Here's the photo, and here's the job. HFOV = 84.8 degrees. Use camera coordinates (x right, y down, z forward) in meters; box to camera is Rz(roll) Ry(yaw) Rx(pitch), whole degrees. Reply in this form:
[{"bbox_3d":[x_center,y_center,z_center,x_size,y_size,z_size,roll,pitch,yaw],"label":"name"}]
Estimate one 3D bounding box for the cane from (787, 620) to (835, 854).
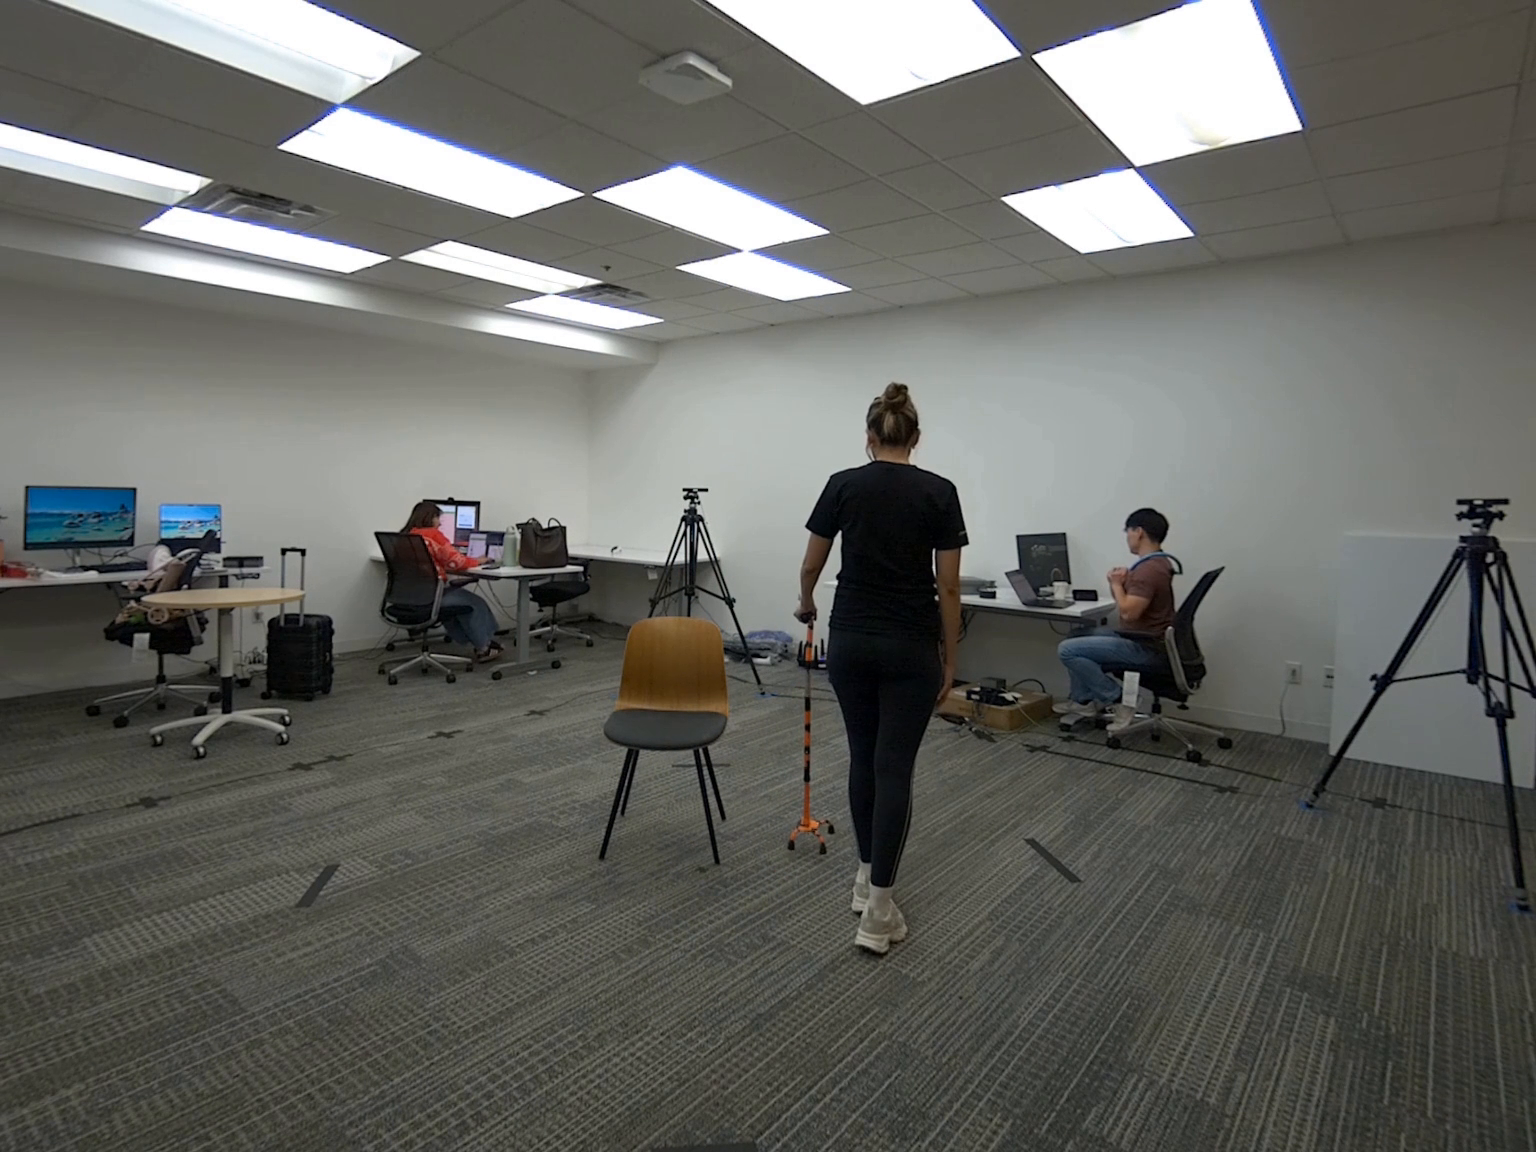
[{"bbox_3d":[0.161,0.579,3.244,0.154,0.903,0.204,1,6,17],"label":"cane"}]
